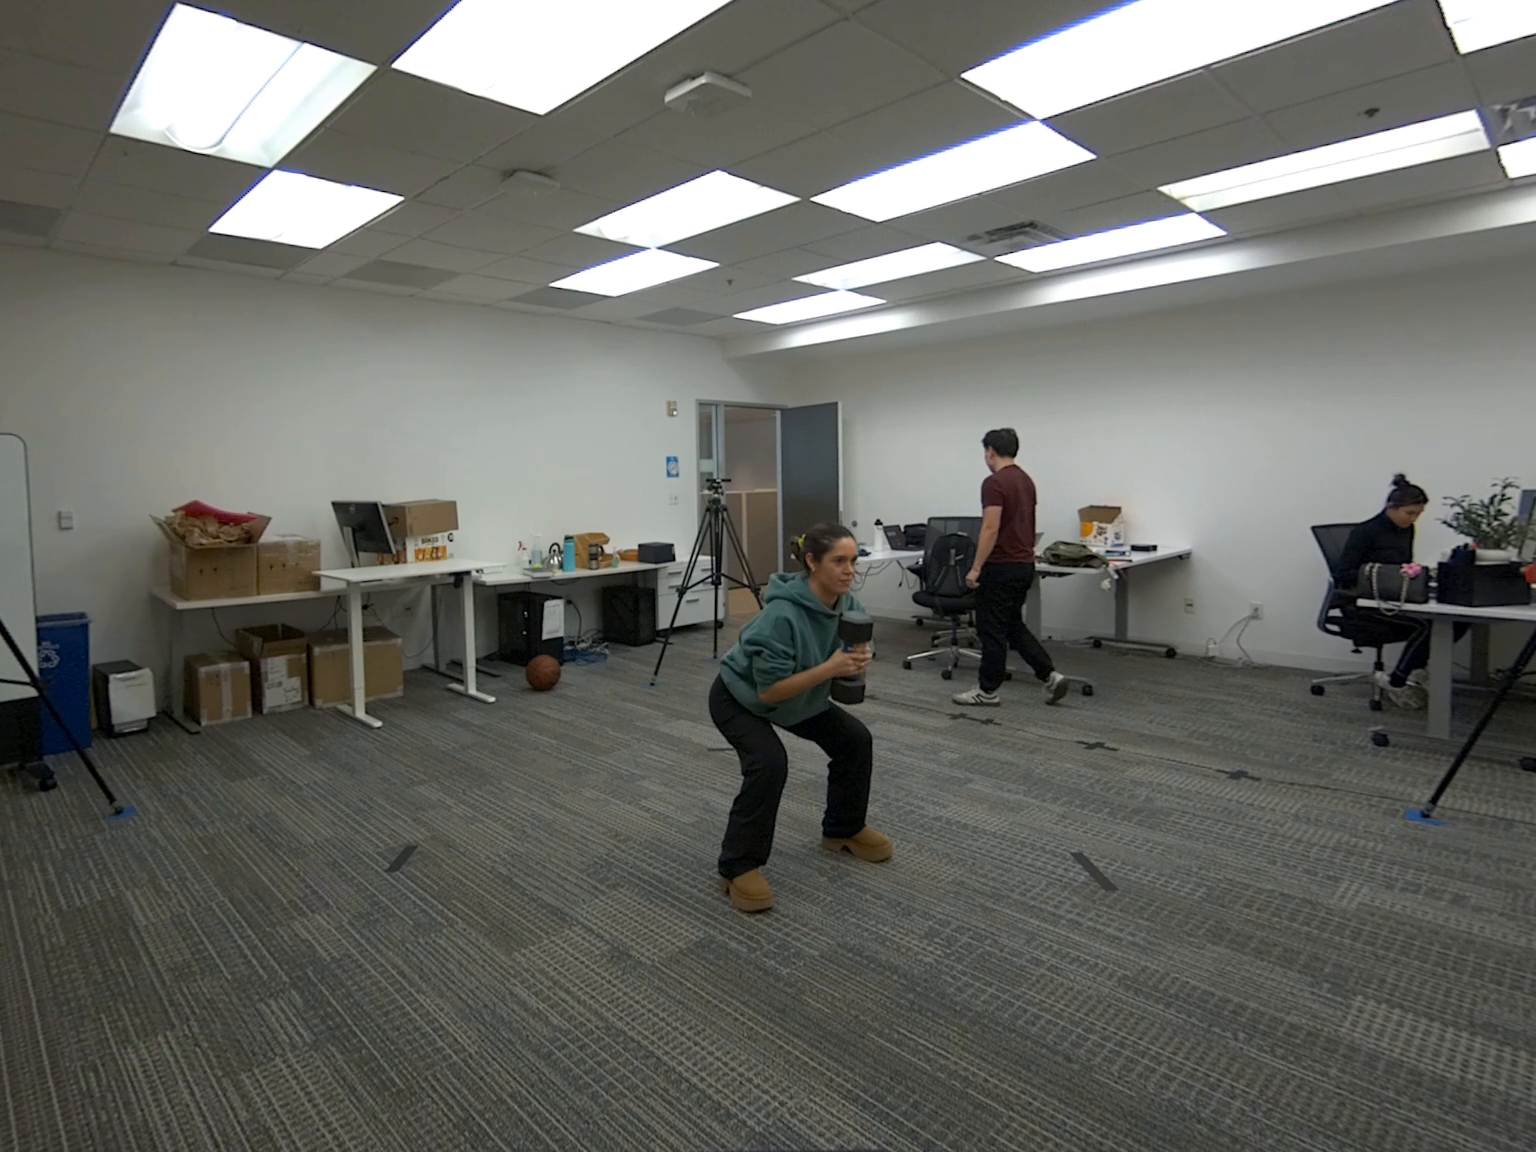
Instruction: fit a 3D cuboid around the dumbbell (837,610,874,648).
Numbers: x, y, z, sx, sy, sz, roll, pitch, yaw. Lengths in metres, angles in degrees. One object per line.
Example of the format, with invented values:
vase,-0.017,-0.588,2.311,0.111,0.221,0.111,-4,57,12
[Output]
dumbbell,0.260,0.261,2.795,0.109,0.290,0.124,5,13,2
